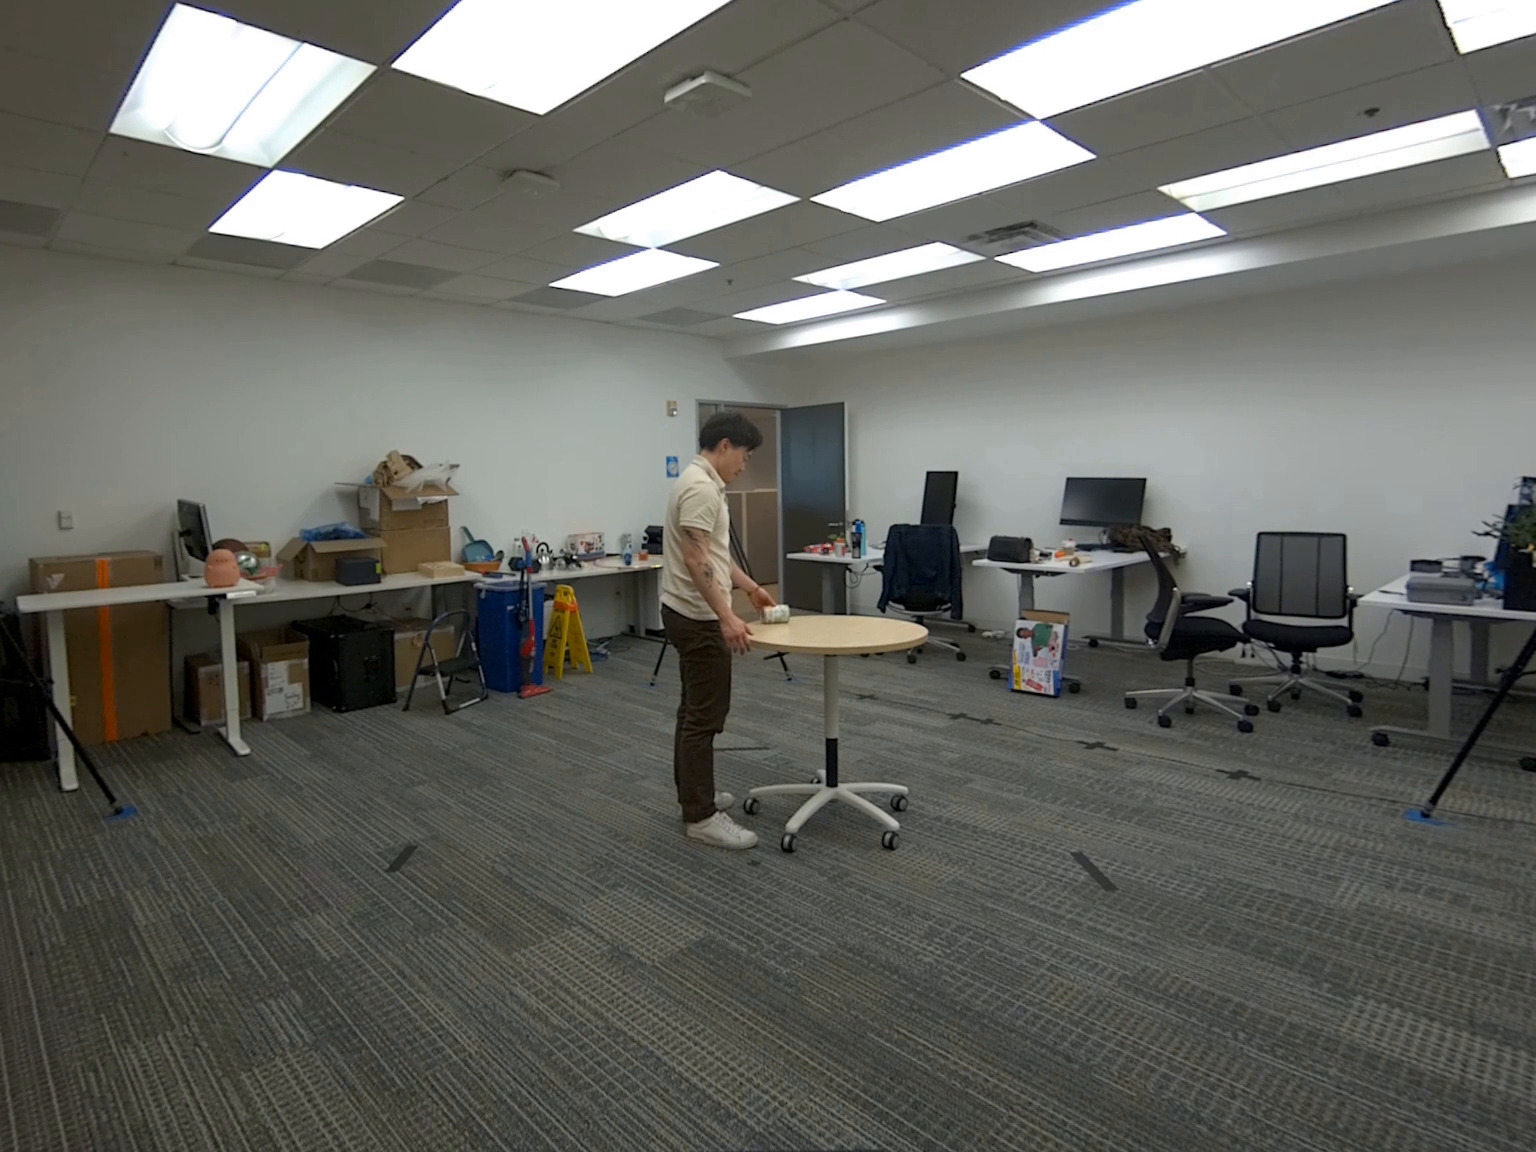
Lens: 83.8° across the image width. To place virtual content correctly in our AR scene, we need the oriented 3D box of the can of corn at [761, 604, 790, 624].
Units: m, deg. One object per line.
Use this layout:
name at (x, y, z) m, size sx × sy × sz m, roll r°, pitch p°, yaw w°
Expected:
can of corn at (0.035, 0.160, 3.630) m, size 0.110 × 0.074 × 0.075 m, roll -3°, pitch 5°, yaw -11°
